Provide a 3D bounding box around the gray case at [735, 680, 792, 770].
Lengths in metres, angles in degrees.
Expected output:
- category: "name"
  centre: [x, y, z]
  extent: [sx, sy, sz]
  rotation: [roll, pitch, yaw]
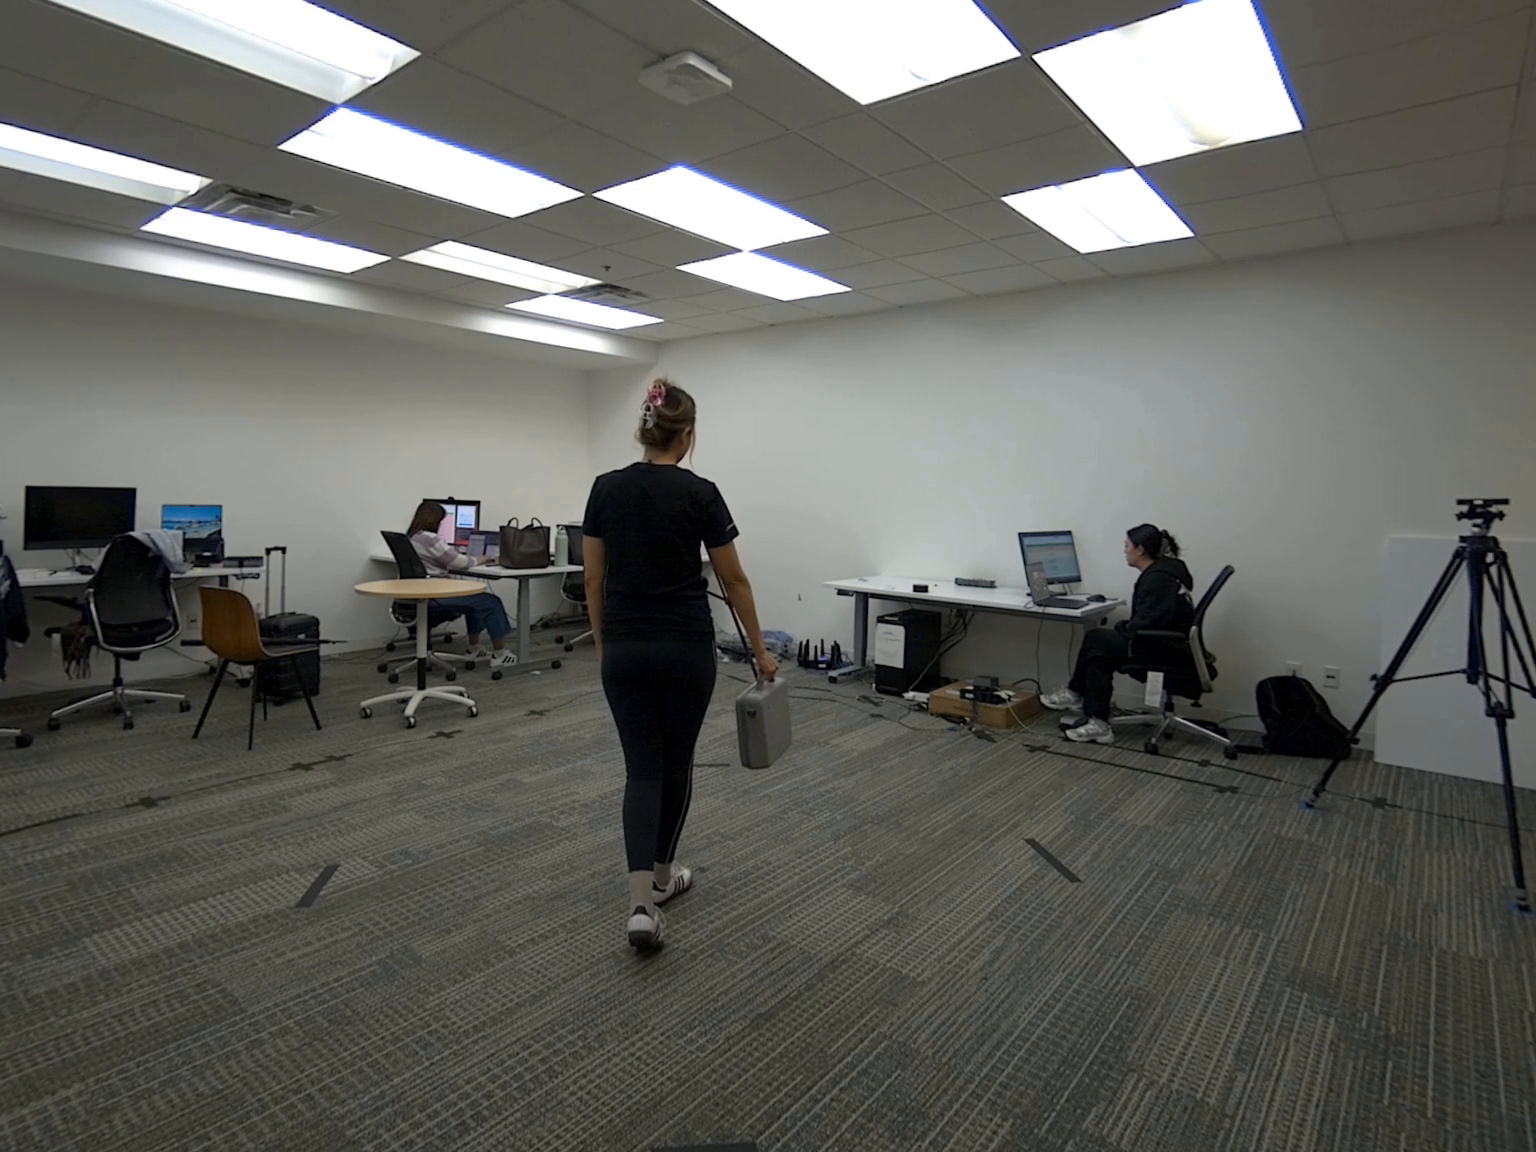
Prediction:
- category: "gray case"
  centre: [-0.017, 0.487, 2.878]
  extent: [0.107, 0.258, 0.253]
  rotation: [-3, 9, 24]
